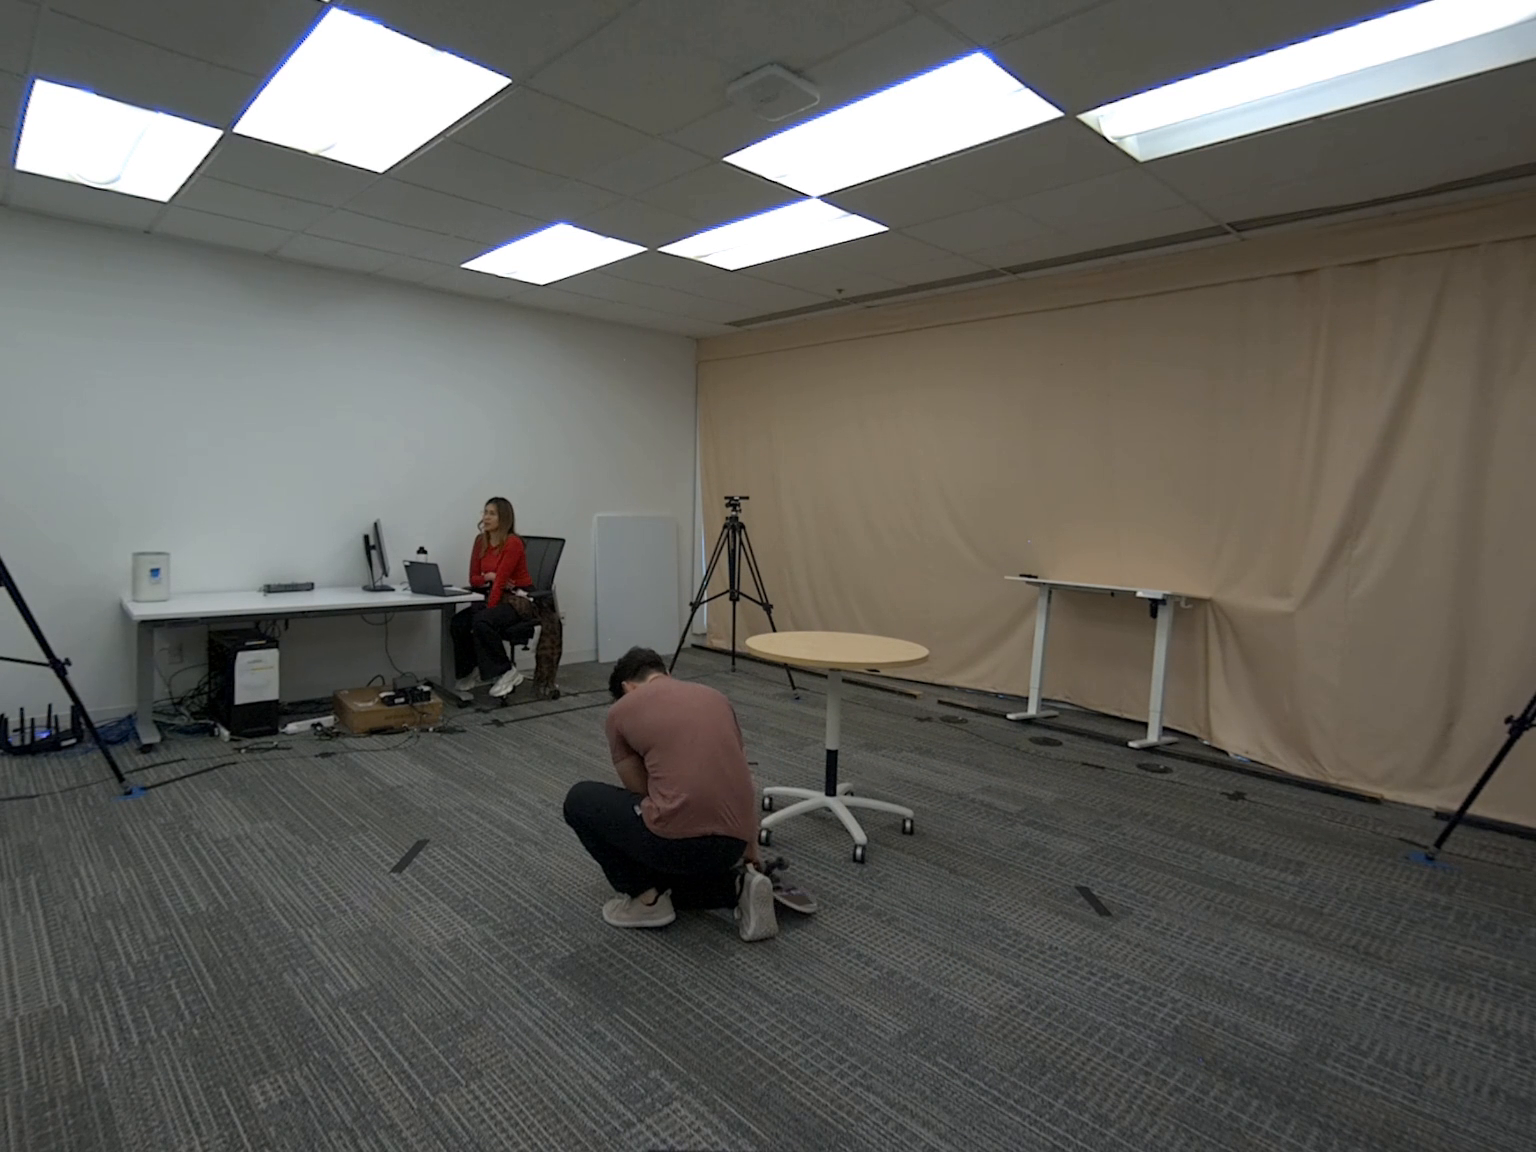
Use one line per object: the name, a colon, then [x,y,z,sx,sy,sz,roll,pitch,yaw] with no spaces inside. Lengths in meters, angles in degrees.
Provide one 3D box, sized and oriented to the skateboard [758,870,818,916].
skateboard: [-0.160,0.996,3.011,0.806,0.111,0.188,10,-6,36]
